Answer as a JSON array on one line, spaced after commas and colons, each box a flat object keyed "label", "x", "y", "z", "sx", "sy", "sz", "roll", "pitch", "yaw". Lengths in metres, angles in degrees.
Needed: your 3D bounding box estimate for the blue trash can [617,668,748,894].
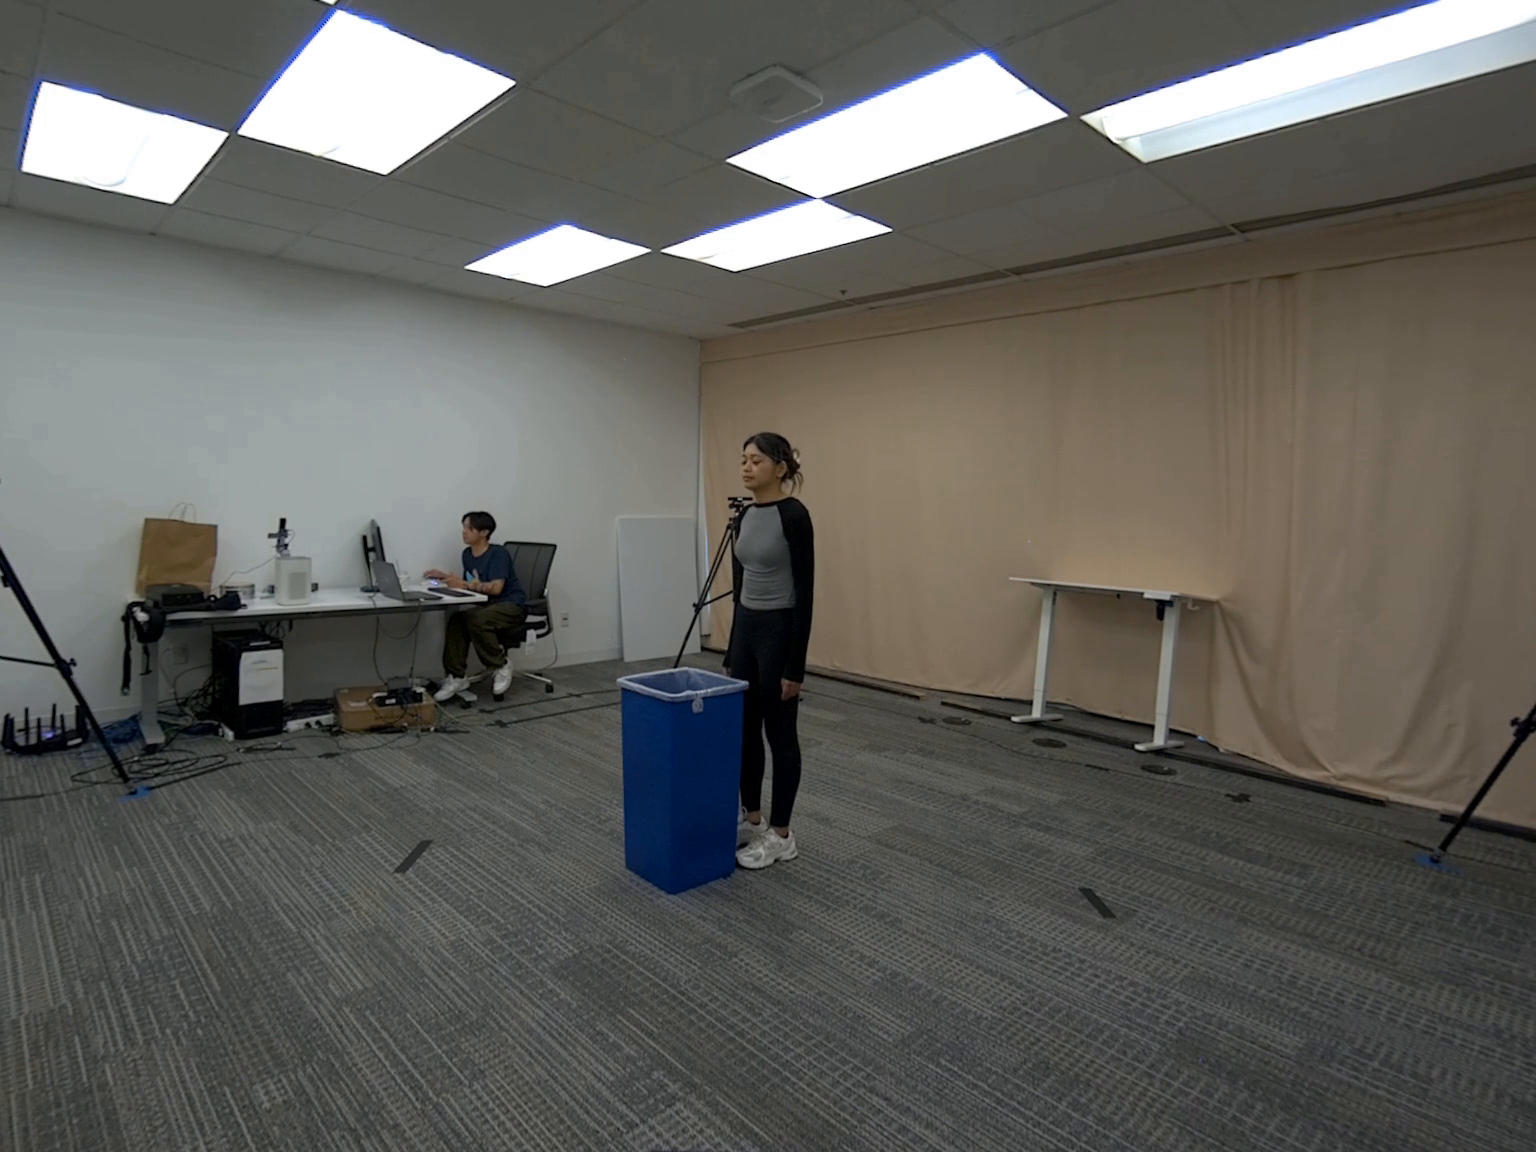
[{"label": "blue trash can", "x": -0.336, "y": 0.744, "z": 3.131, "sx": 0.369, "sy": 0.712, "sz": 0.383, "roll": -1, "pitch": 4, "yaw": -42}]
